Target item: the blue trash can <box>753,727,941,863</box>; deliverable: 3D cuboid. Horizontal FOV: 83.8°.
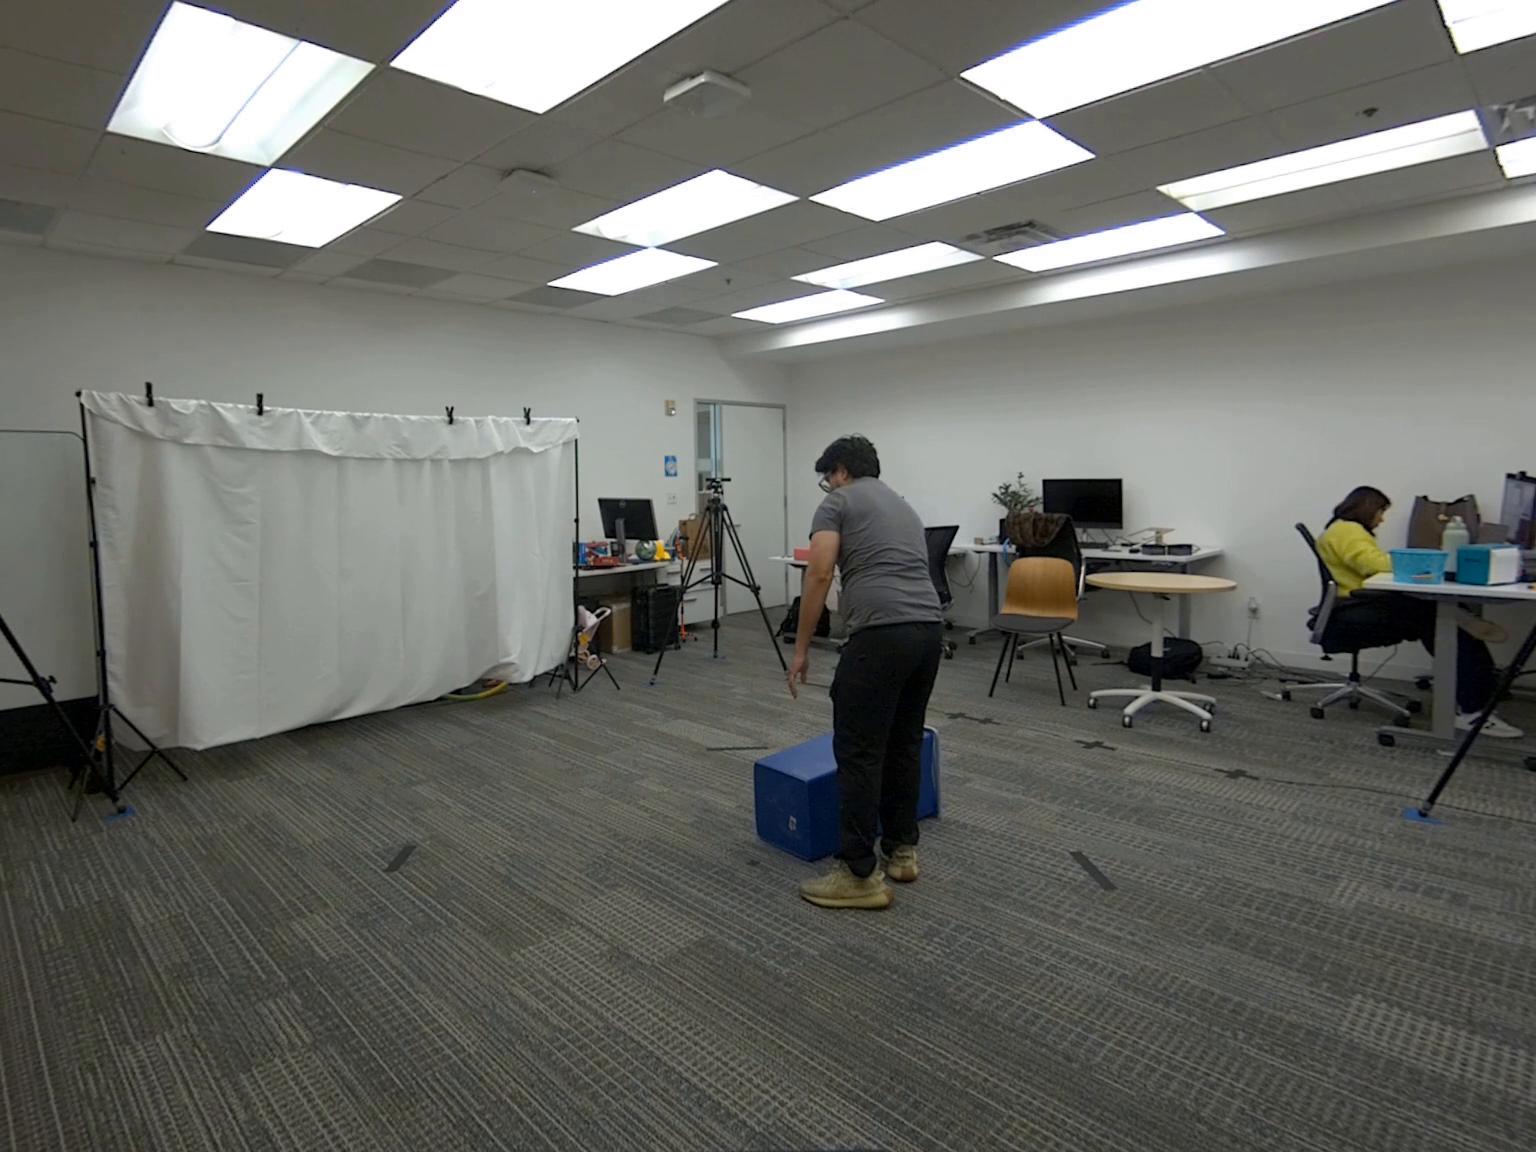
[{"bbox_3d":[0.320,0.825,3.409,0.696,0.372,0.390,-8,9,-39],"label":"blue trash can"}]
